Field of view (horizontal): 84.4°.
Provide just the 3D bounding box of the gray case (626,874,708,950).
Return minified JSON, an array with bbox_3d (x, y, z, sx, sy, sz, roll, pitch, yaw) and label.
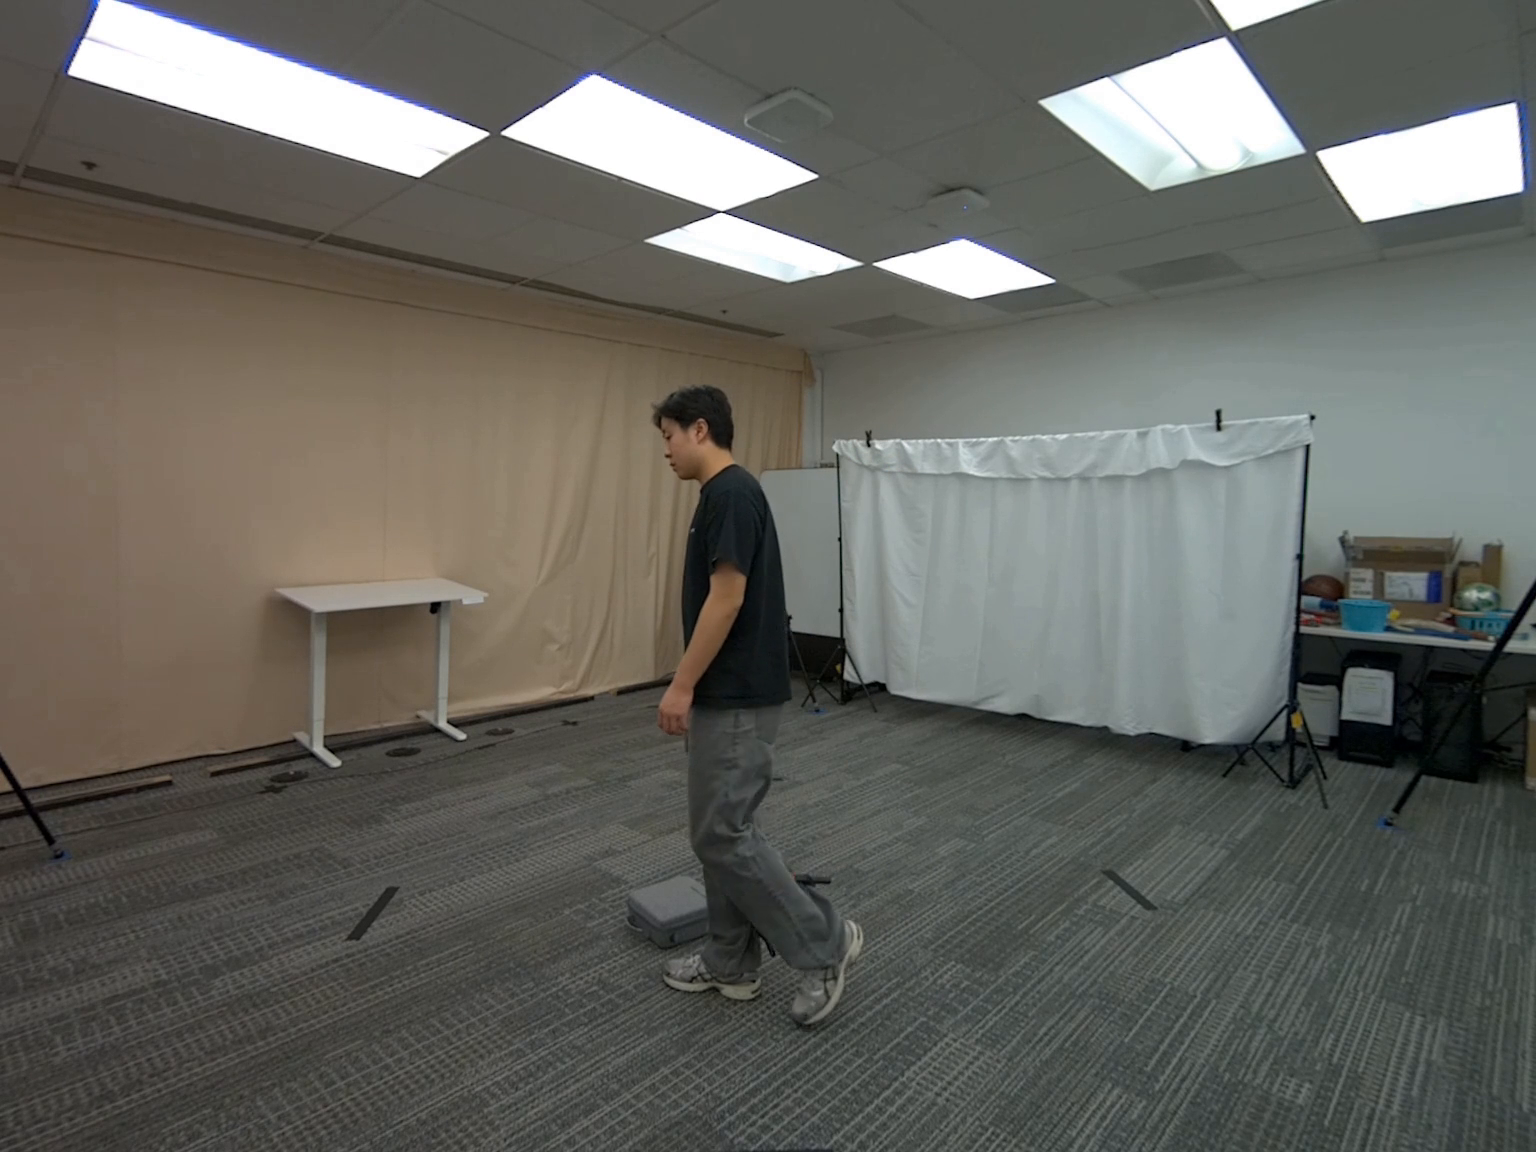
[{"bbox_3d":[-0.316,1.109,2.781,0.279,0.103,0.271,-4,6,-34],"label":"gray case"}]
